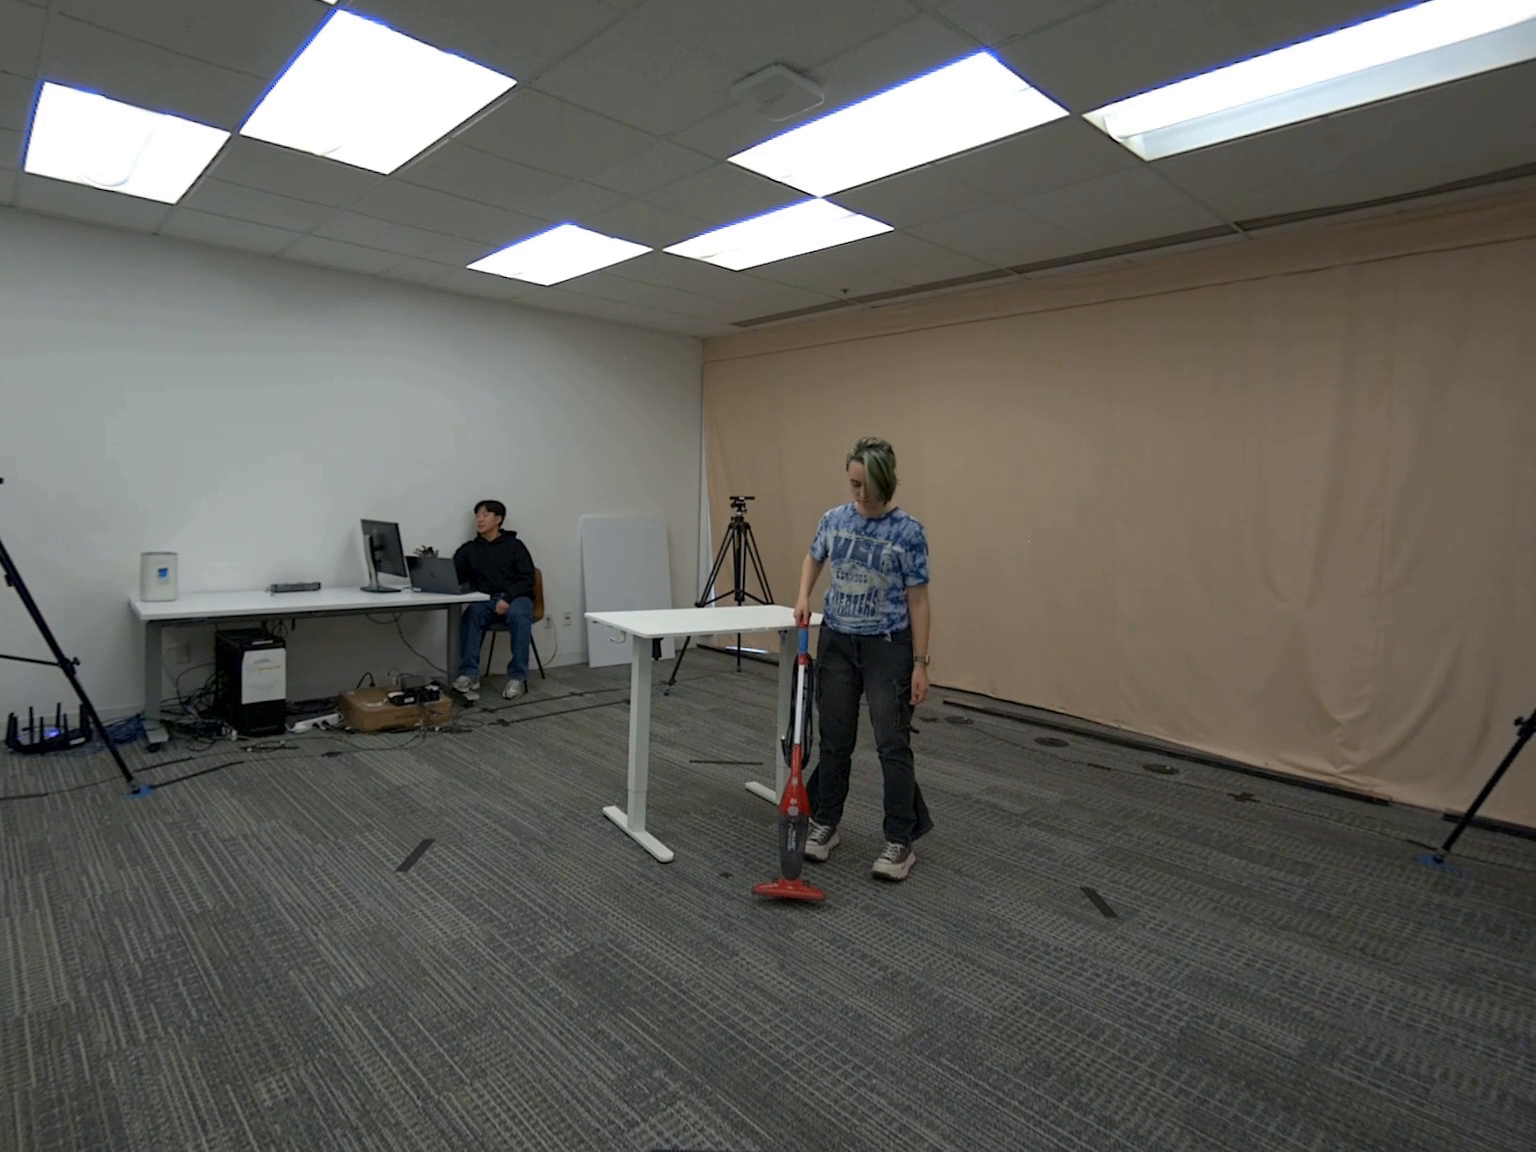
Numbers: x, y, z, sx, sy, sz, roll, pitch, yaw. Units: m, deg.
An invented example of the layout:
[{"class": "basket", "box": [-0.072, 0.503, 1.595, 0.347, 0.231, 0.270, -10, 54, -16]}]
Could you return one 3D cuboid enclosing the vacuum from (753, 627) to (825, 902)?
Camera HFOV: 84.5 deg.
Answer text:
[{"class": "vacuum", "box": [0.107, 0.632, 3.114, 0.254, 1.064, 0.141, 2, -23, 8]}]
